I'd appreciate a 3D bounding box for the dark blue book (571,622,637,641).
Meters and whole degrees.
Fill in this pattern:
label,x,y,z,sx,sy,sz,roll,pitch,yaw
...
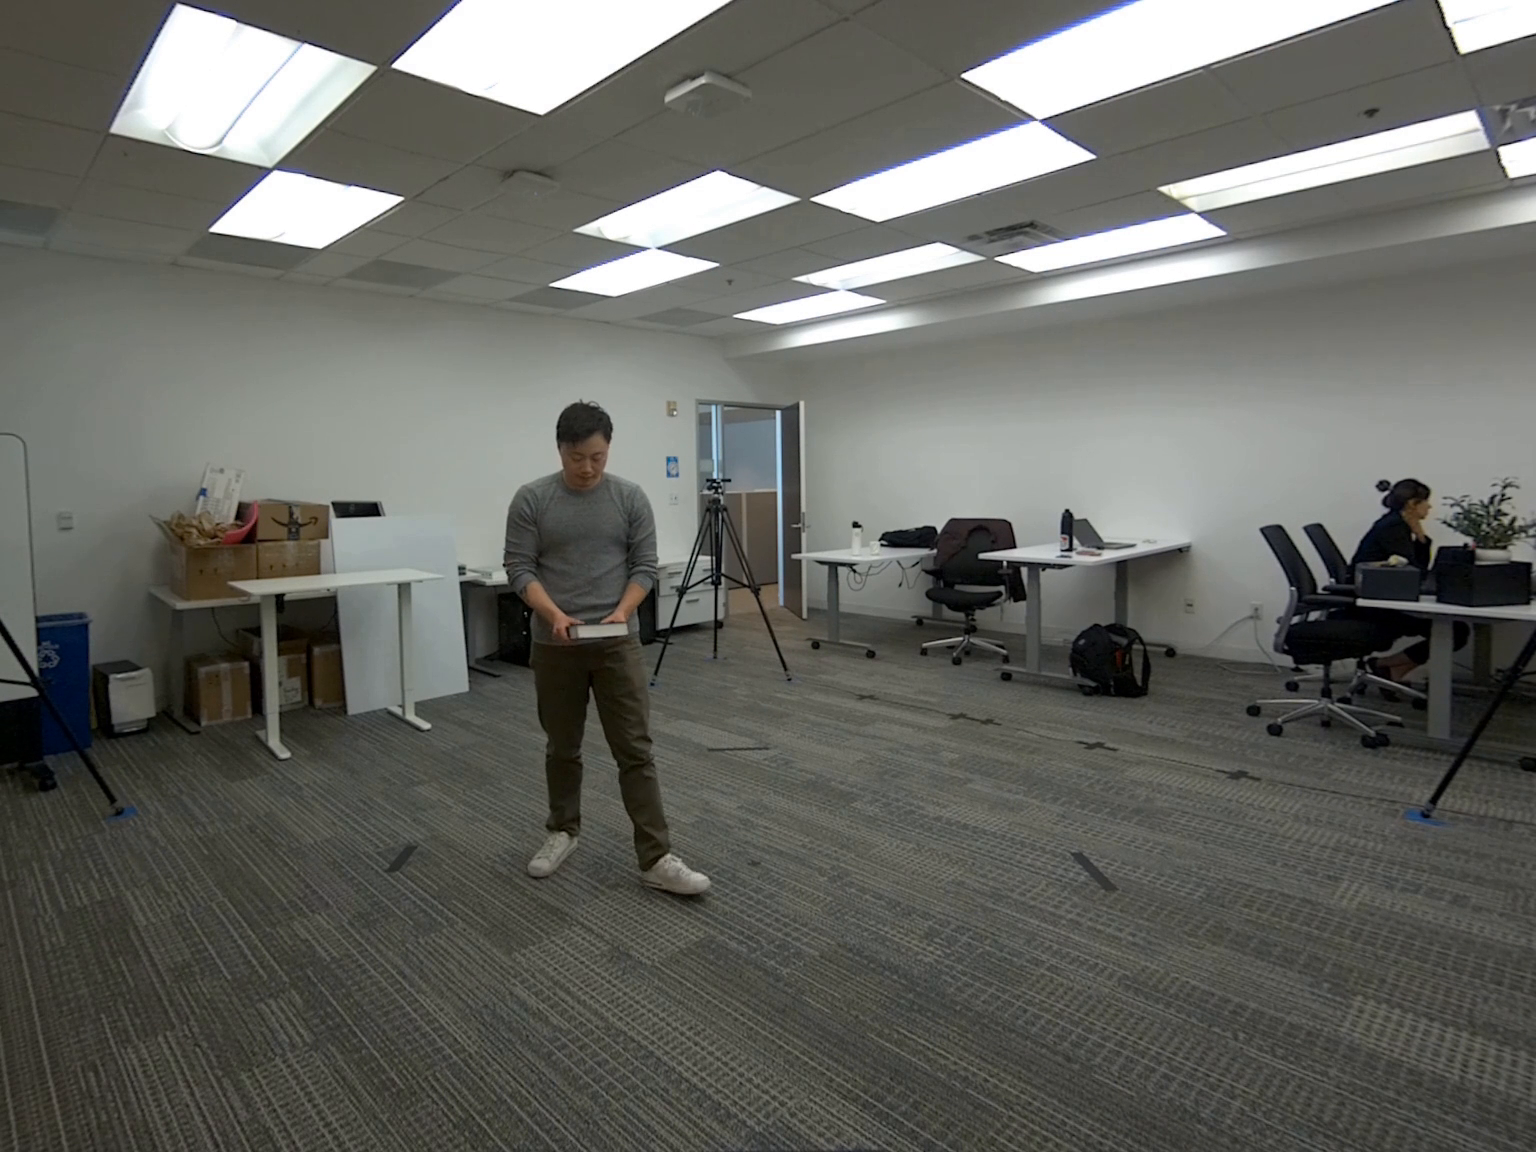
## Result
label,x,y,z,sx,sy,sz,roll,pitch,yaw
dark blue book,-0.533,0.178,2.719,0.160,0.045,0.249,-3,-3,-24
